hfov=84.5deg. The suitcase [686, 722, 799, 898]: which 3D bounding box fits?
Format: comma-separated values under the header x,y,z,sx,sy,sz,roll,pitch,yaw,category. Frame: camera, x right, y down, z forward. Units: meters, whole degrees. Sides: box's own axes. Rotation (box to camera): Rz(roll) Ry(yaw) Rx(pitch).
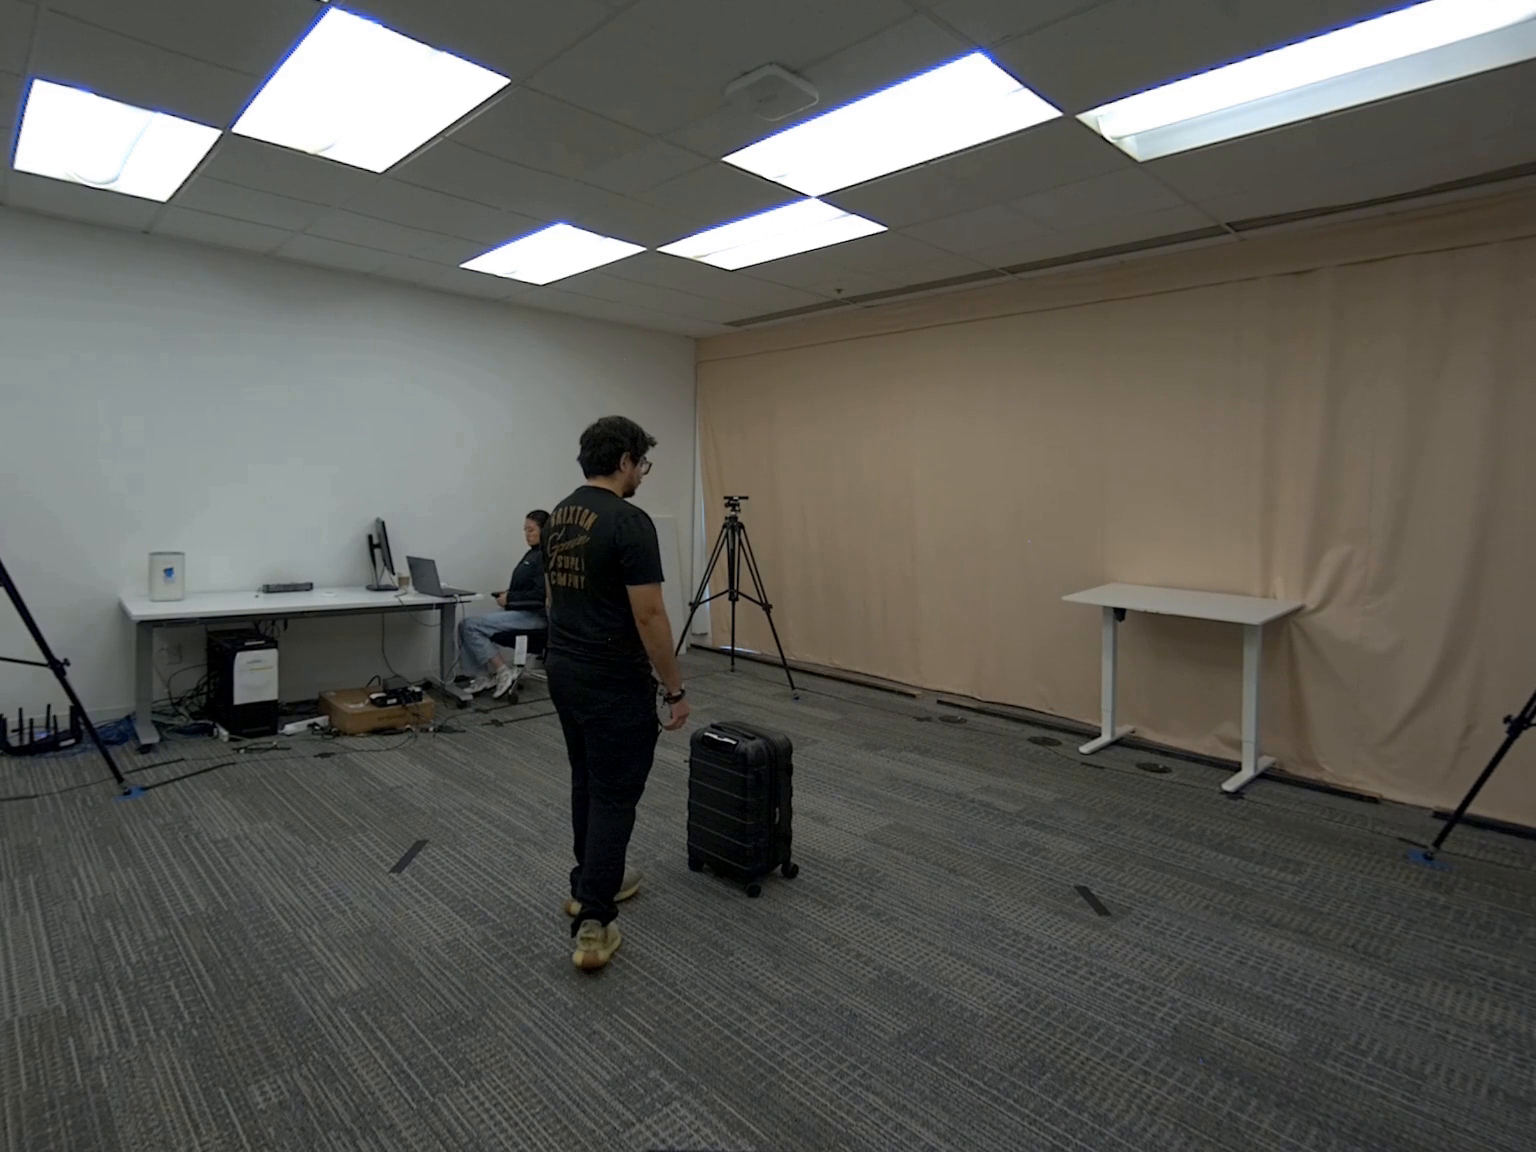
x,y,z,sx,sy,sz,roll,pitch,yaw,category
-0.109,0.829,3.110,0.385,0.548,0.243,4,5,44,suitcase
